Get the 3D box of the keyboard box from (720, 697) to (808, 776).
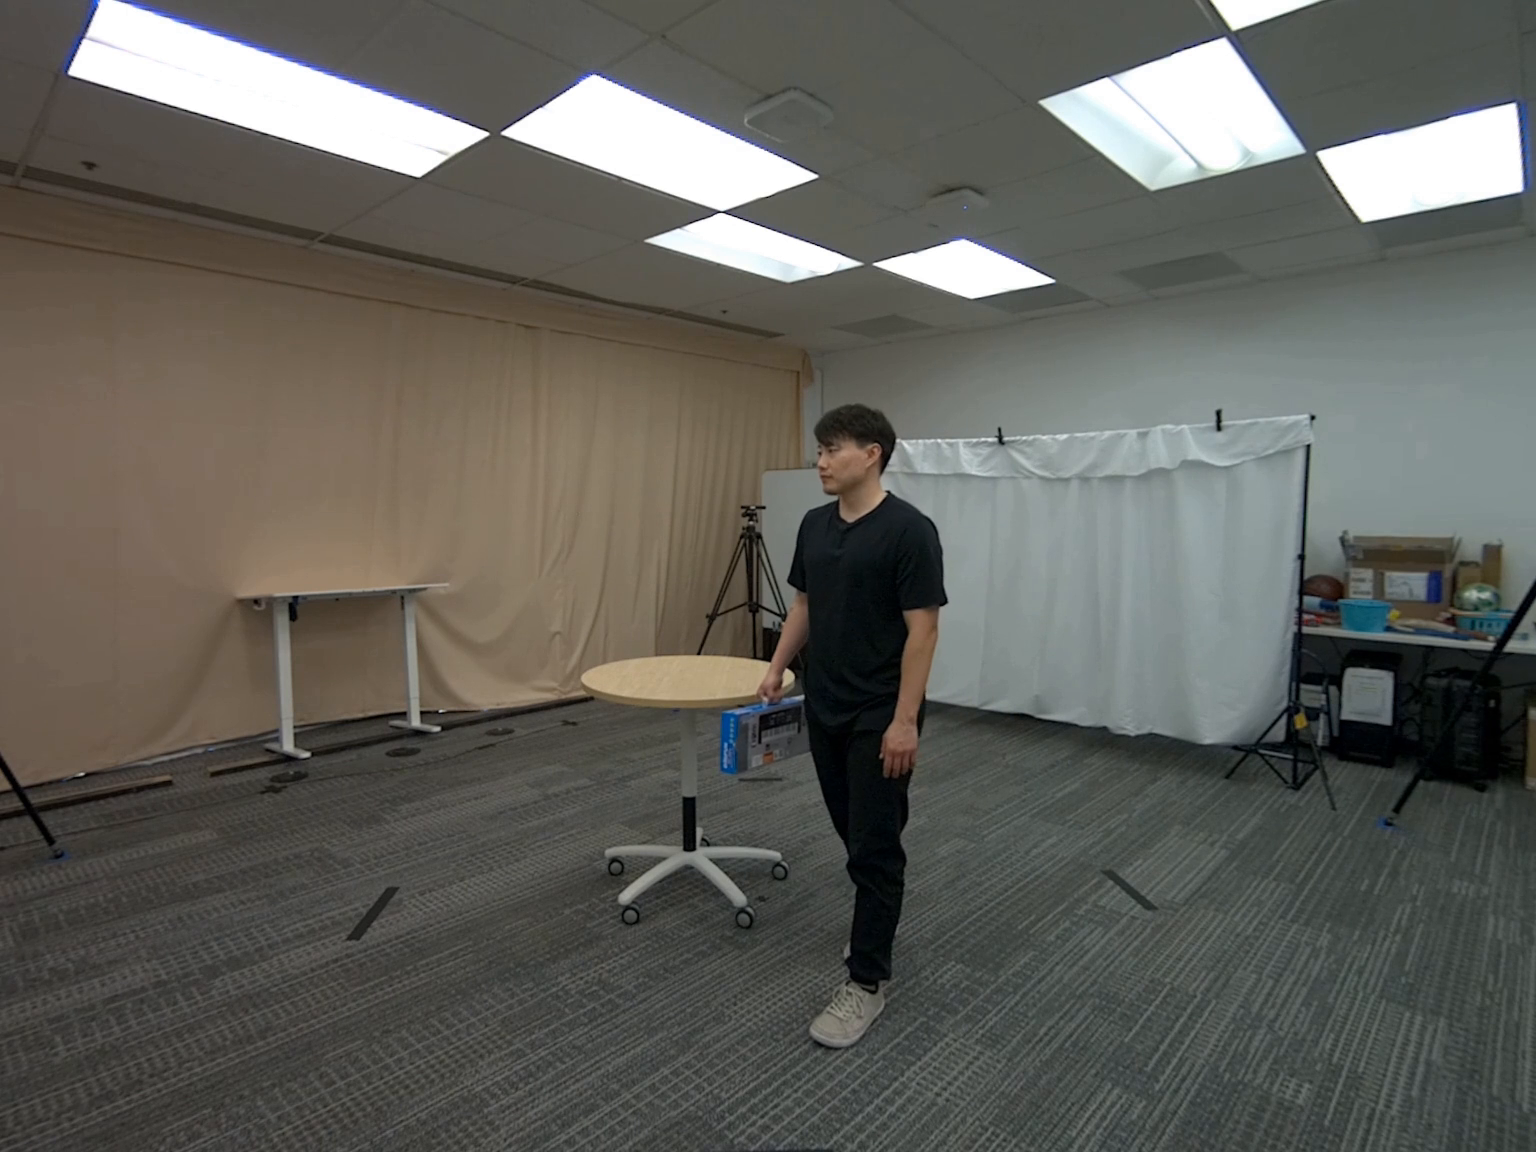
[{"bbox_3d":[0.023,0.476,2.566,0.061,0.176,0.423,2,1,37],"label":"keyboard box"}]
